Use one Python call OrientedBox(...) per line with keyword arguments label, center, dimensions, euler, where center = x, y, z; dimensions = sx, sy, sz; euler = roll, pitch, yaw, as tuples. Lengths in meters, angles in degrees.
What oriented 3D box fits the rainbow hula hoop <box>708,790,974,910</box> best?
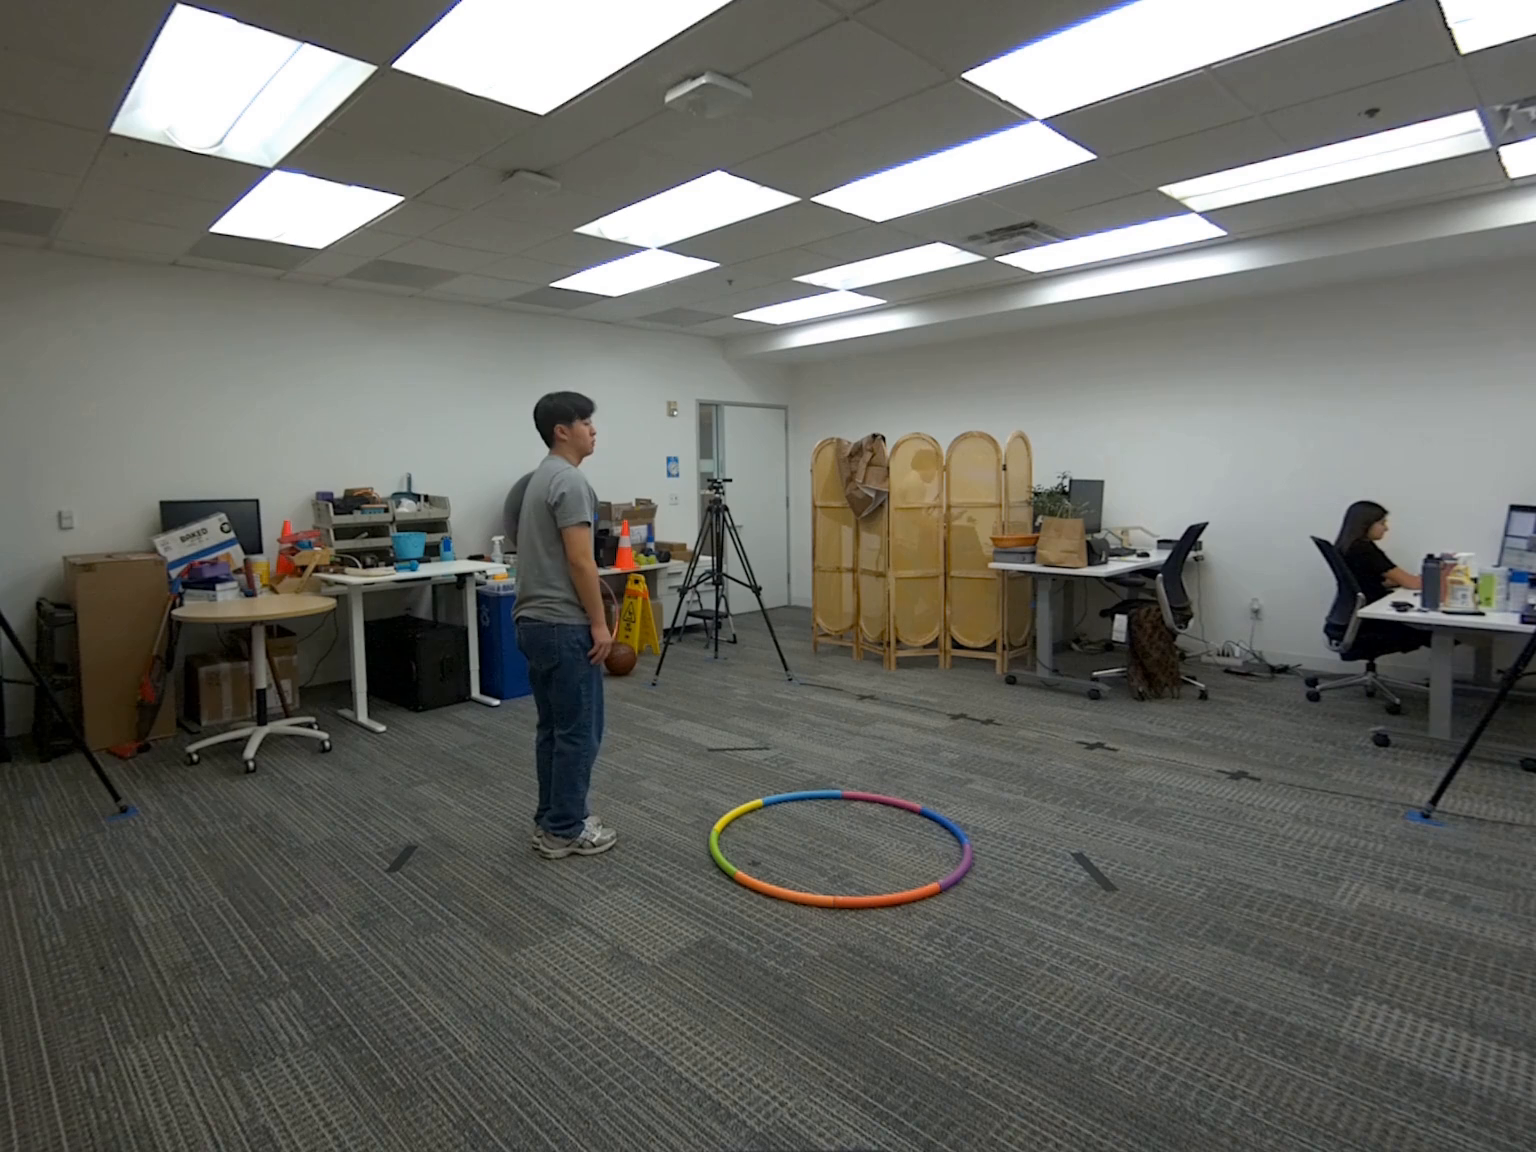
OrientedBox(label="rainbow hula hoop", center=(0.259, 0.994, 3.250), dimensions=(0.978, 0.035, 0.984), euler=(-1, 6, -2))
